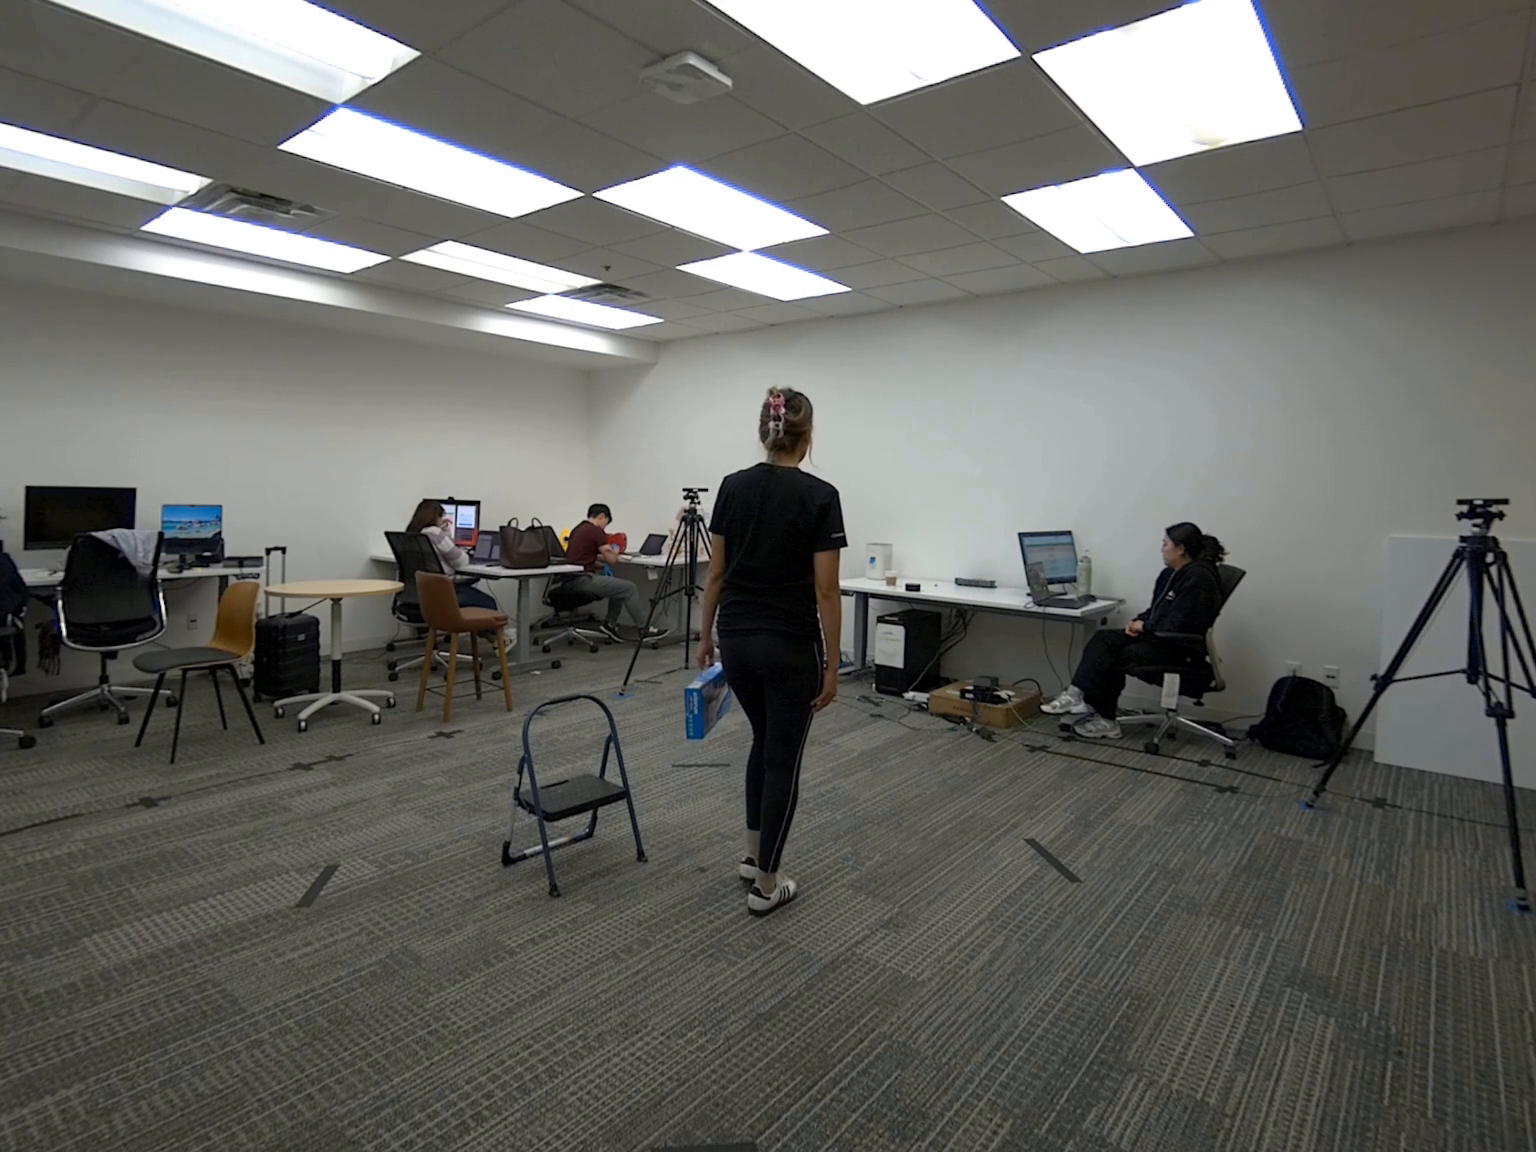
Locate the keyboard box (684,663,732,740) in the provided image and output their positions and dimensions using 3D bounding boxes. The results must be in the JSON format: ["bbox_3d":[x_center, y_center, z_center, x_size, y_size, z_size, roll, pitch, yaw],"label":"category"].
[{"bbox_3d":[-0.220,0.434,3.039,0.060,0.175,0.433,-2,4,9],"label":"keyboard box"}]
